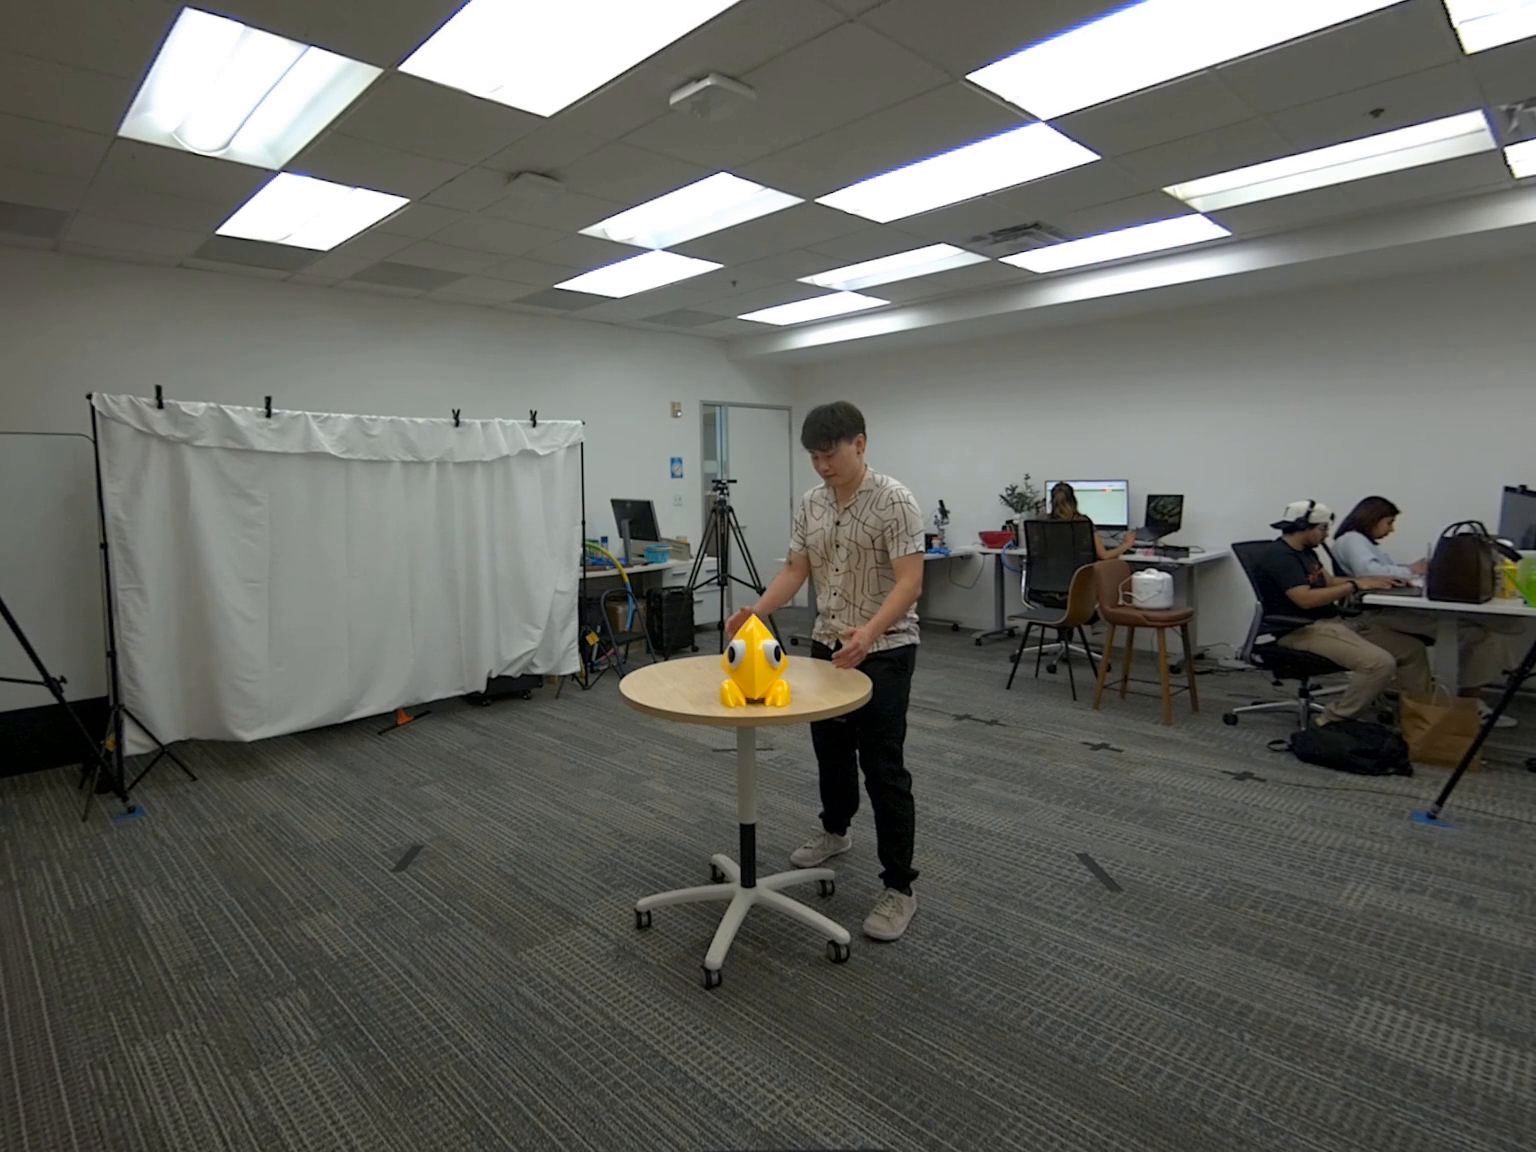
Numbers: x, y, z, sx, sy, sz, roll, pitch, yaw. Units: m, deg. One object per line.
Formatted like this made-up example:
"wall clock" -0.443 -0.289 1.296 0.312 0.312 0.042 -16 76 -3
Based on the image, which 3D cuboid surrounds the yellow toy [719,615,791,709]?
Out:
"yellow toy" -0.033 0.236 2.385 0.205 0.229 0.194 -1 6 0
